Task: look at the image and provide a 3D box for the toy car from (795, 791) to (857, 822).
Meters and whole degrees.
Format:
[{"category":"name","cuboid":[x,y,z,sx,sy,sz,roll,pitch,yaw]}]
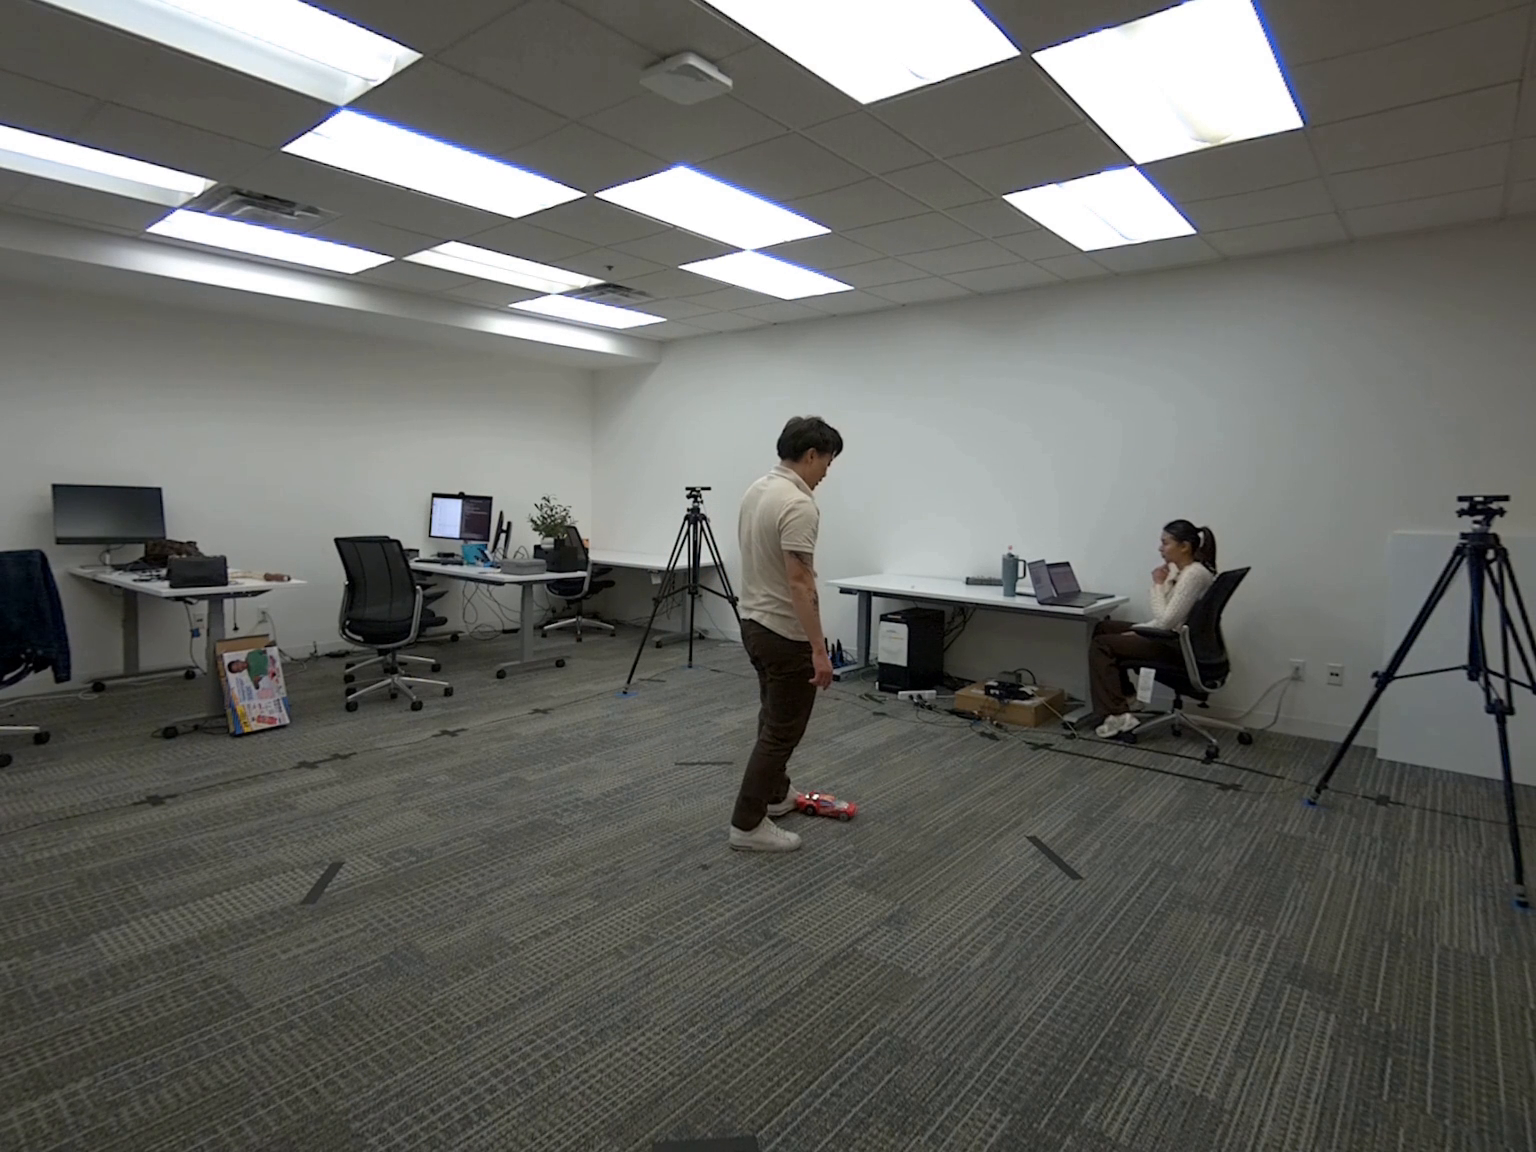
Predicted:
[{"category":"toy car","cuboid":[0.234,0.990,3.655,0.261,0.083,0.128,15,8,19]}]
